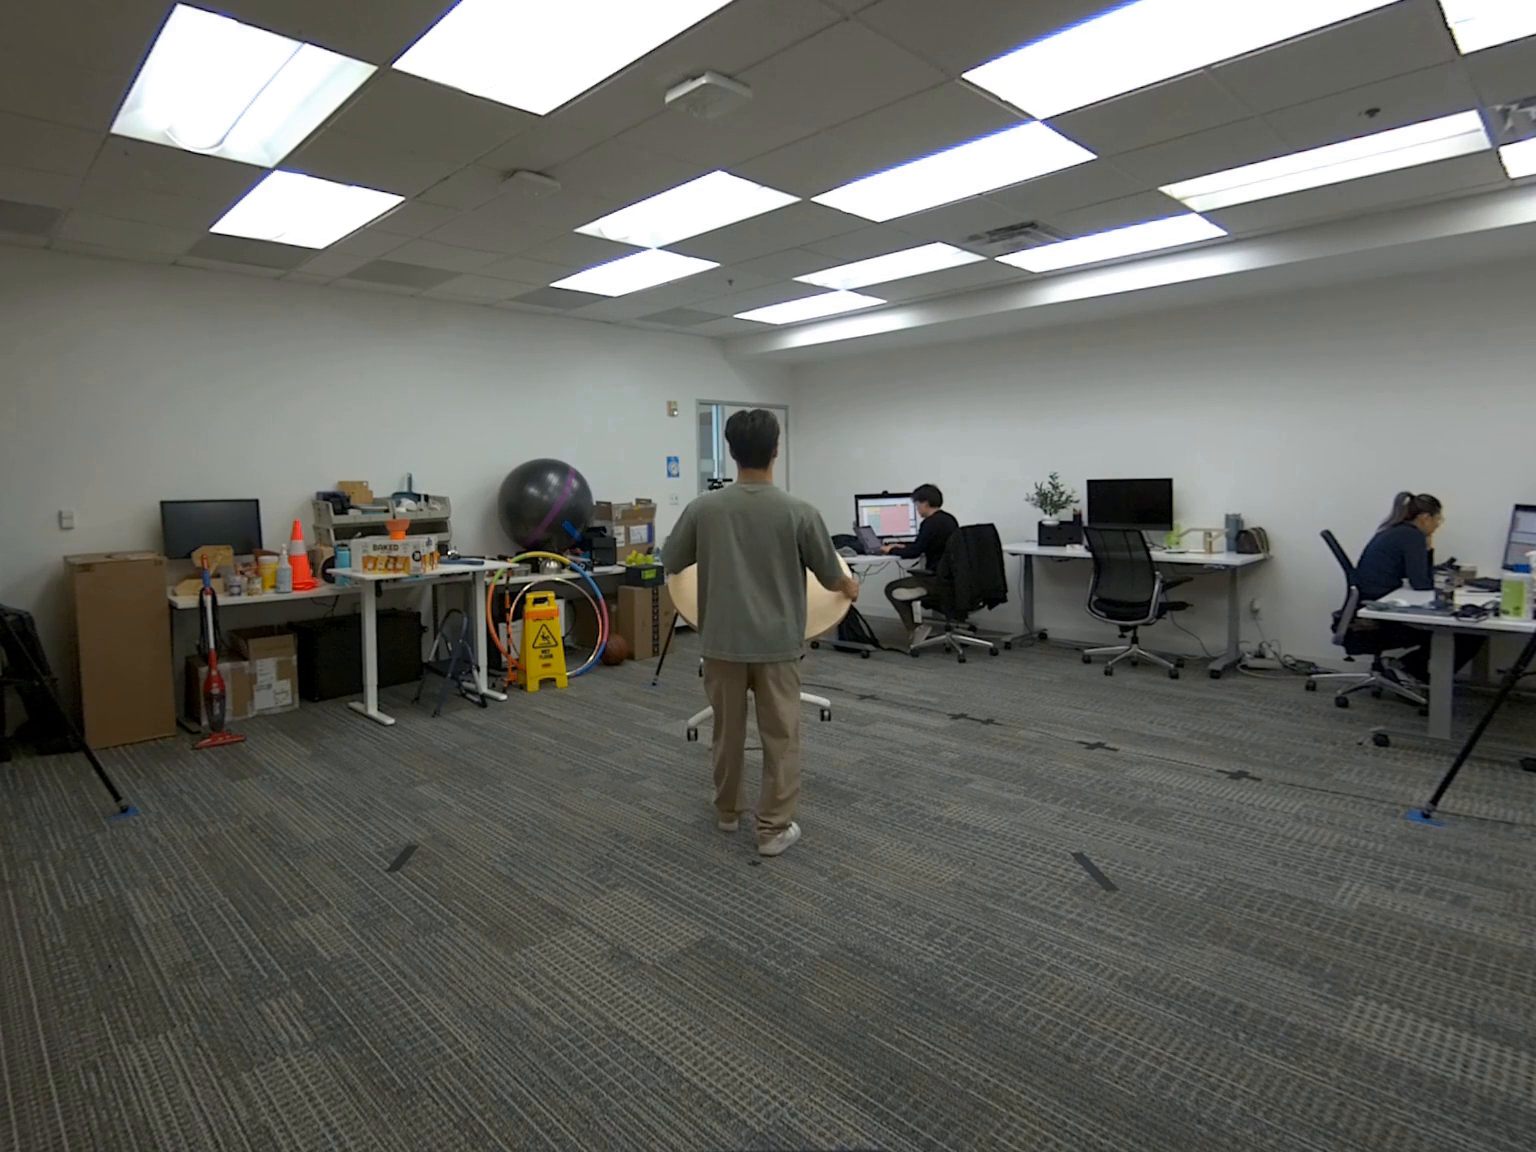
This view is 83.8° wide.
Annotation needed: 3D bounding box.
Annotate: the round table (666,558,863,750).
[{"bbox_3d":[-0.034,0.323,3.784,0.784,0.766,0.806,0,39,-2],"label":"round table"}]
